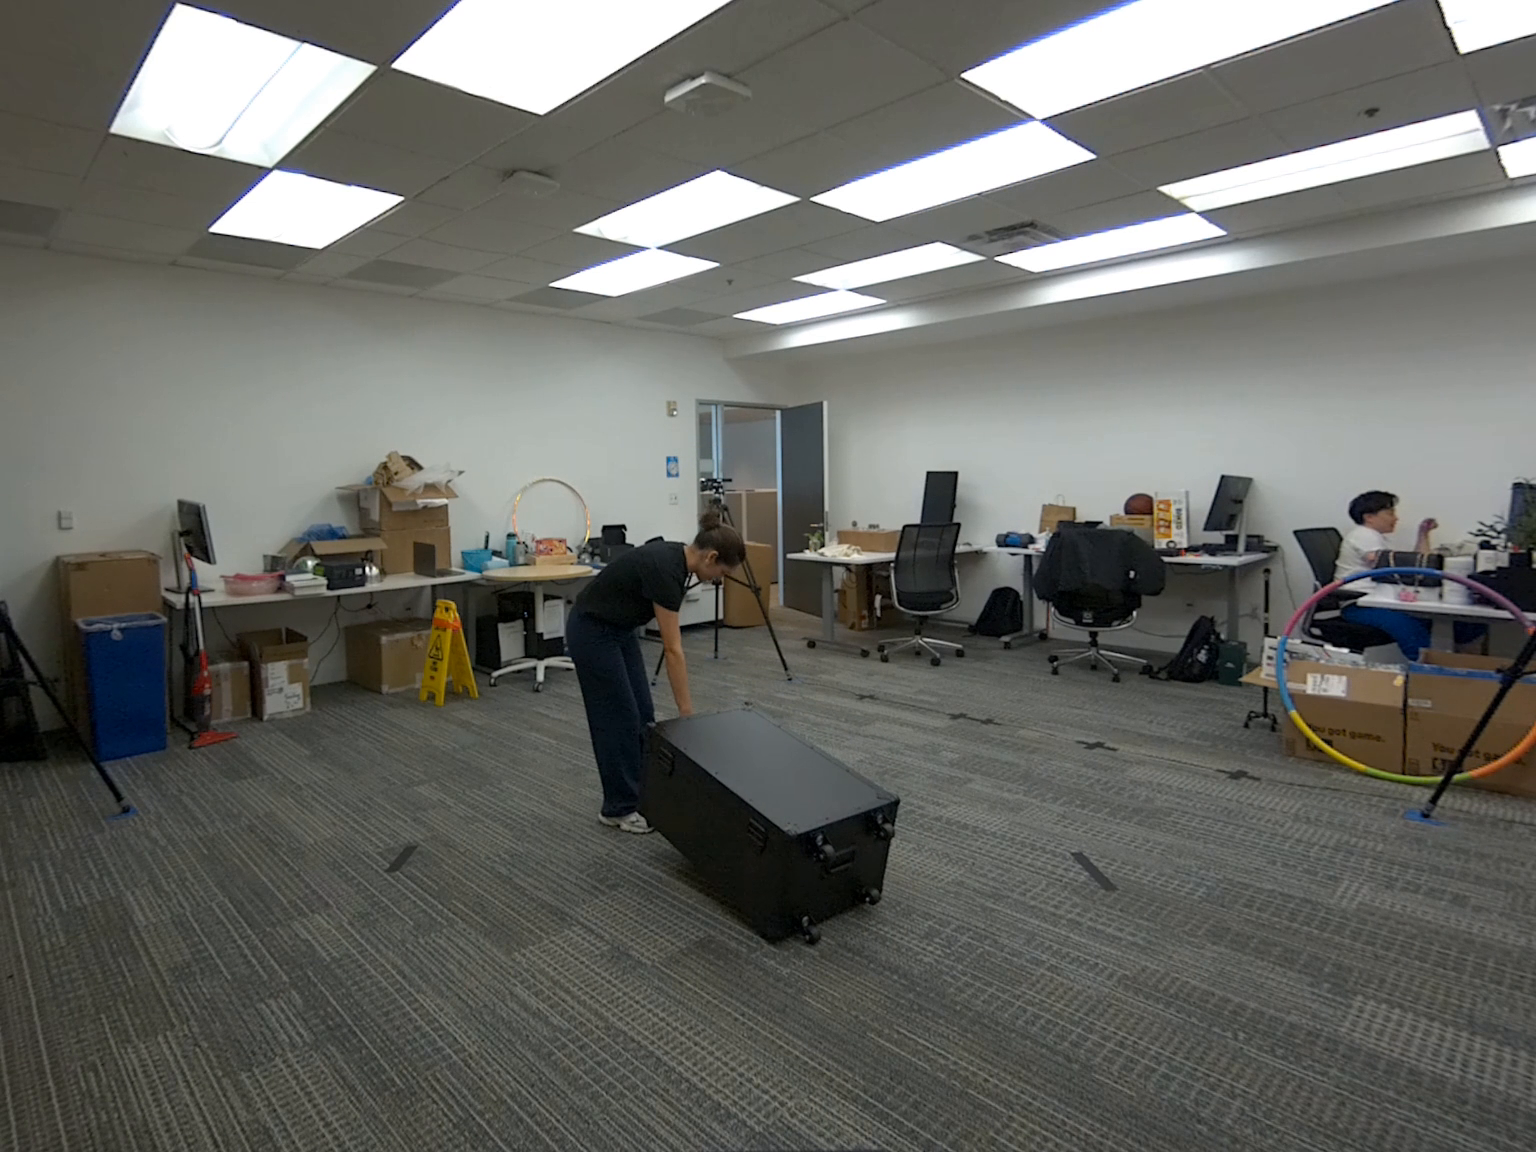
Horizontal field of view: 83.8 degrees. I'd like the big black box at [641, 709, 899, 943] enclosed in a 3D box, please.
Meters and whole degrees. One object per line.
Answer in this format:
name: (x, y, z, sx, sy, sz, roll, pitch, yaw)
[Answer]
big black box: (-0.045, 0.797, 2.983, 0.507, 0.392, 0.894, -3, 18, -39)
